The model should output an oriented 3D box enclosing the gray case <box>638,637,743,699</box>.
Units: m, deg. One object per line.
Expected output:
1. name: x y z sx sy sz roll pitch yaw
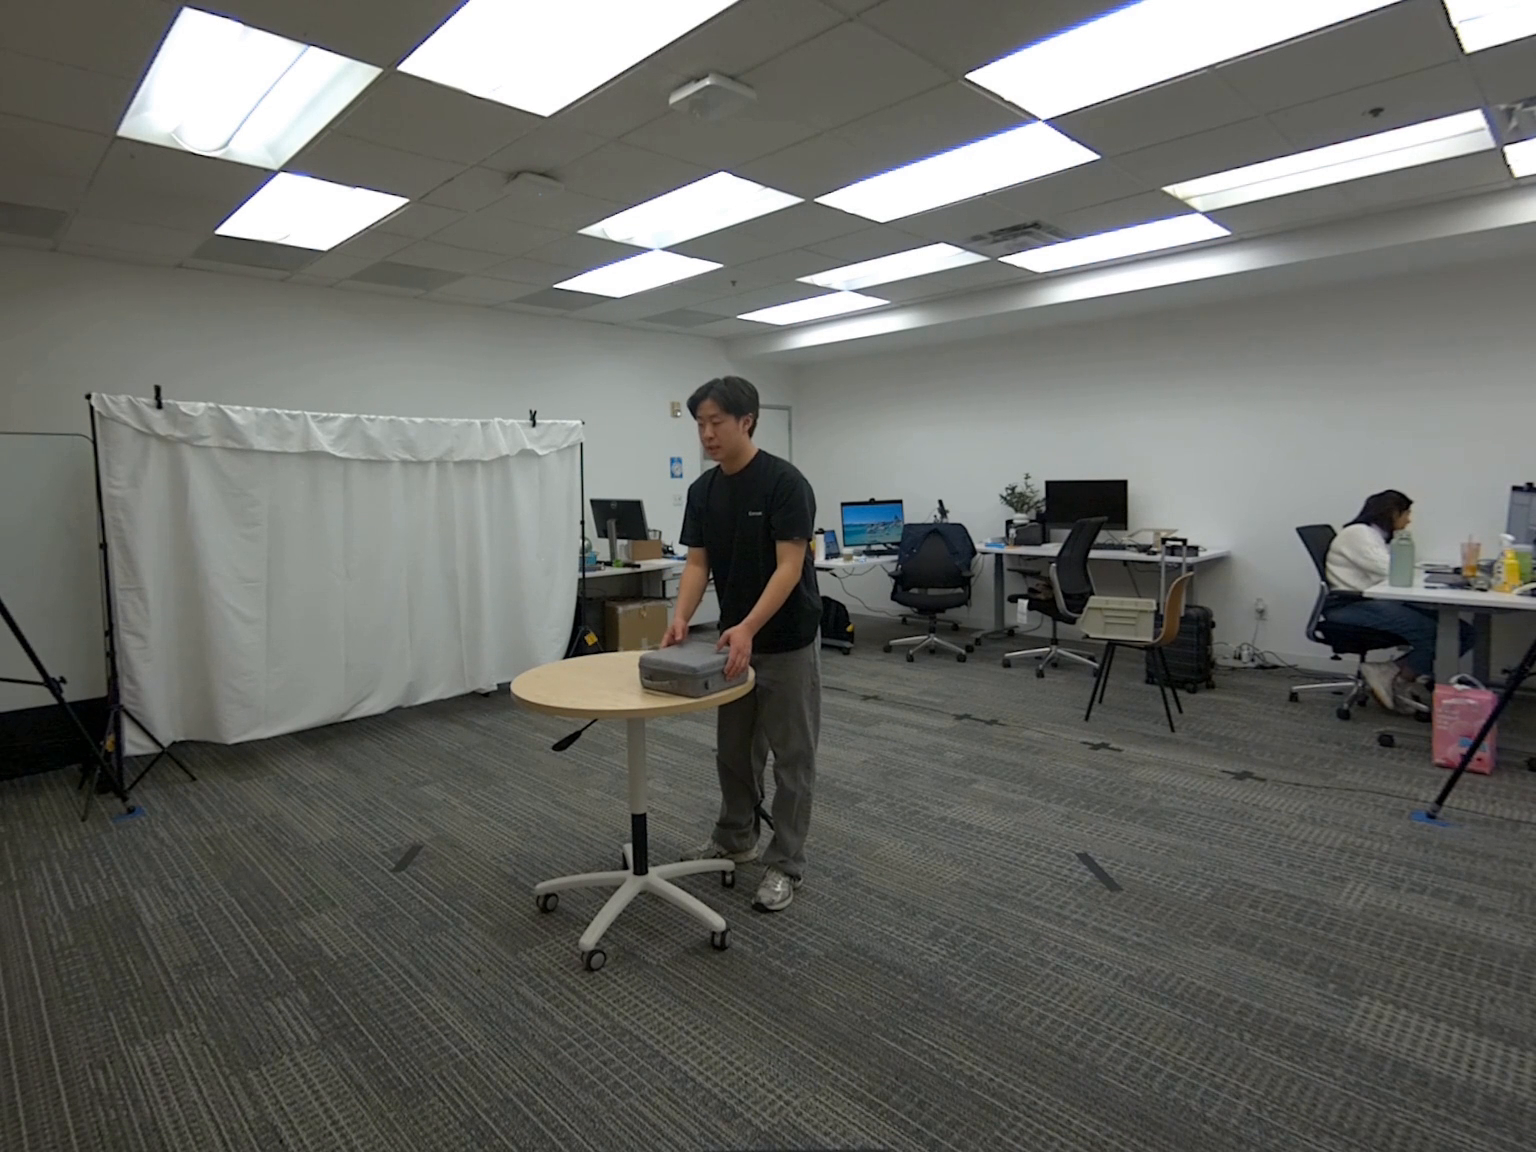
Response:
1. gray case: -0.234 0.283 2.555 0.271 0.102 0.280 4 10 40
